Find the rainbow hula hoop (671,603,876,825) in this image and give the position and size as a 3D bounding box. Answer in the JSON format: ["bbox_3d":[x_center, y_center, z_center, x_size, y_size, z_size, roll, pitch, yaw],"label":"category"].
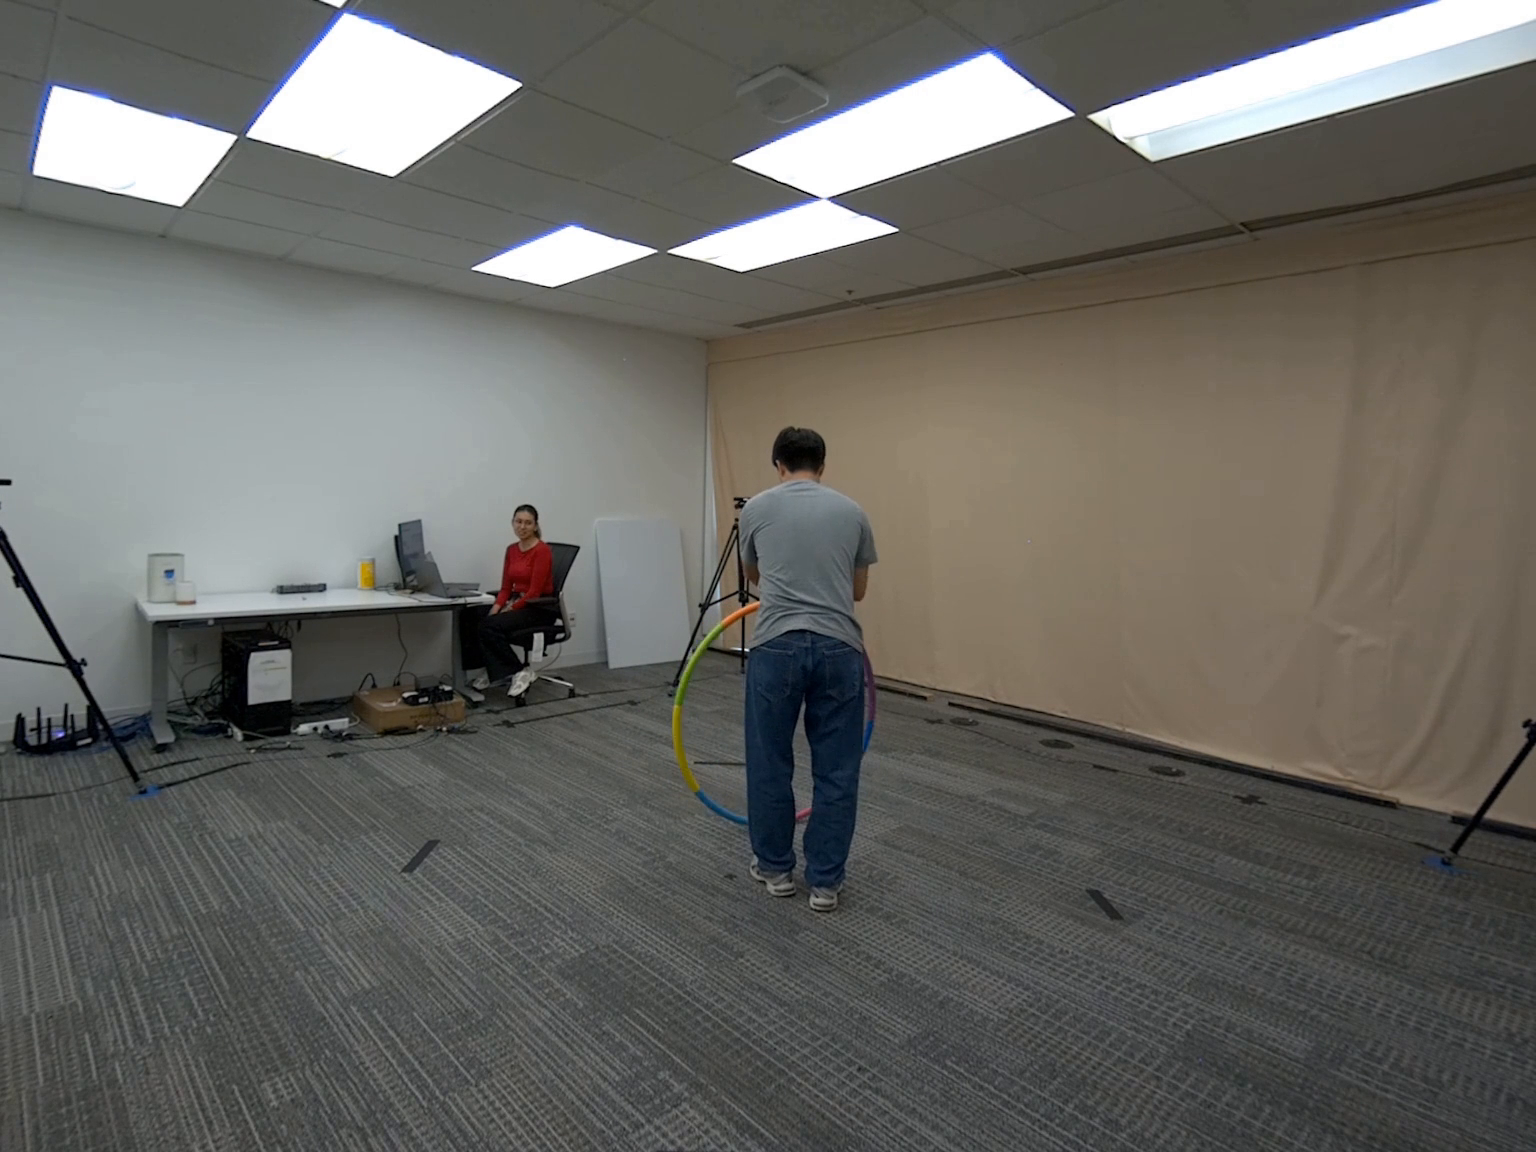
[{"bbox_3d":[0.039,0.584,3.593,0.960,0.977,0.036,-1,3,-27],"label":"rainbow hula hoop"}]
